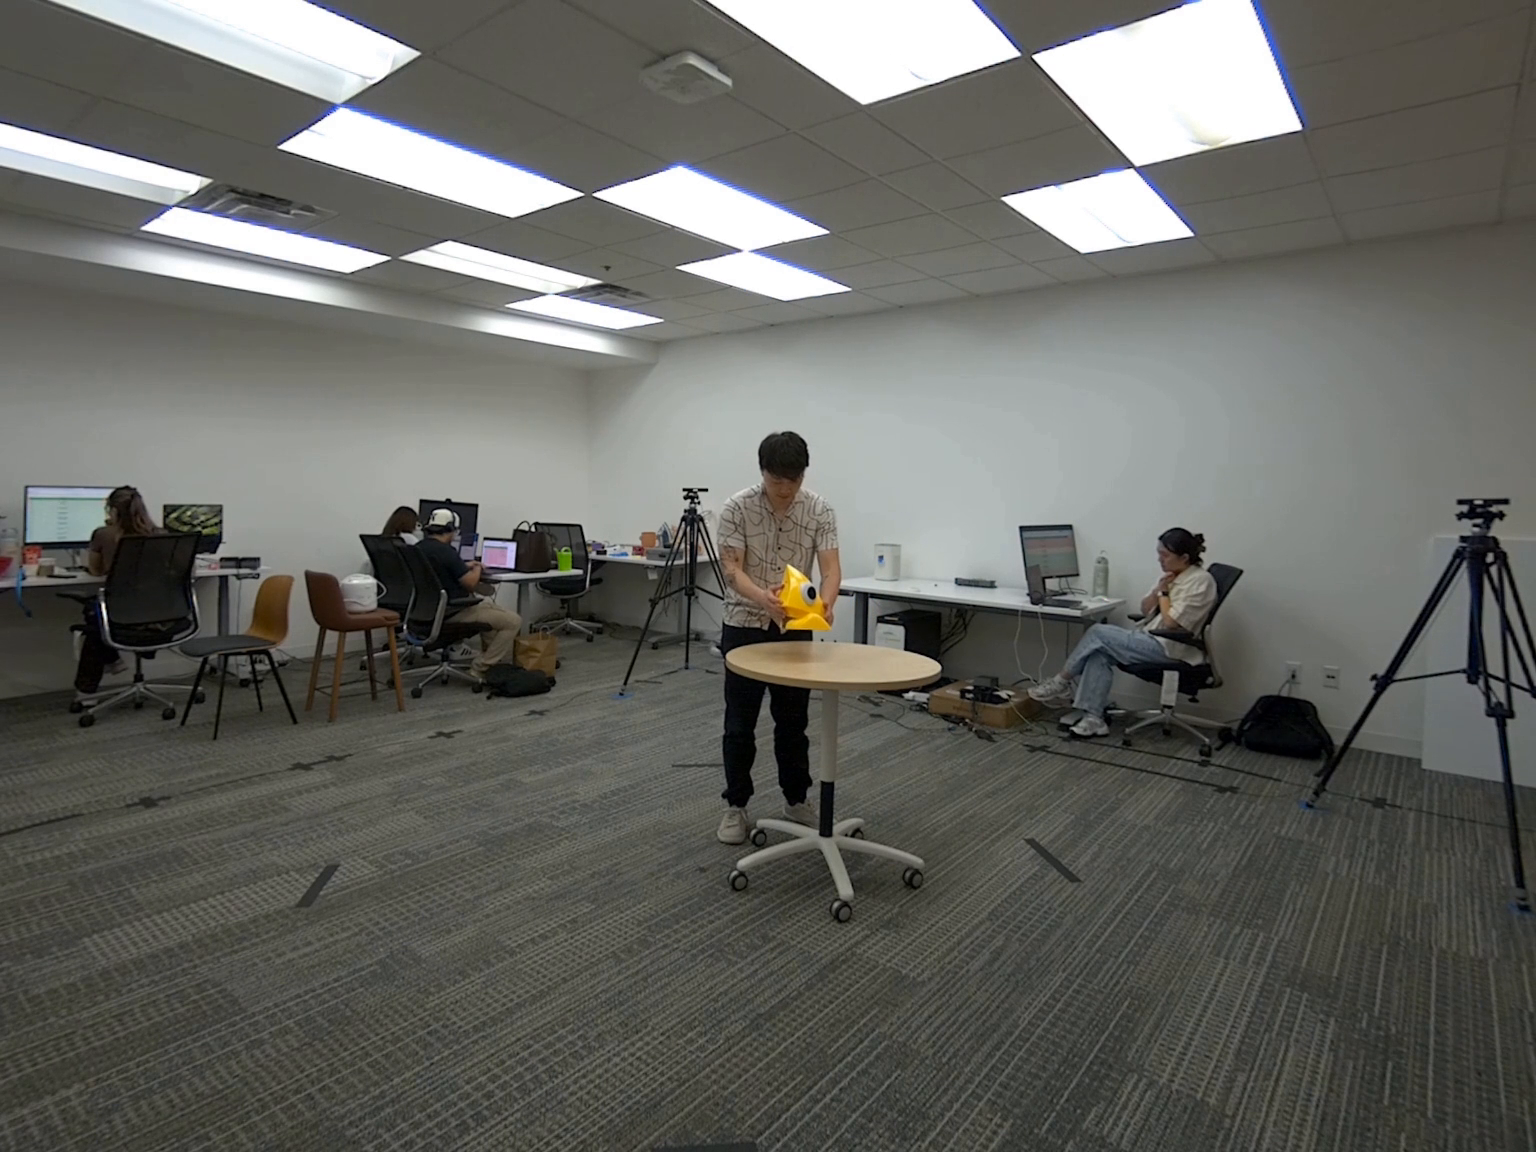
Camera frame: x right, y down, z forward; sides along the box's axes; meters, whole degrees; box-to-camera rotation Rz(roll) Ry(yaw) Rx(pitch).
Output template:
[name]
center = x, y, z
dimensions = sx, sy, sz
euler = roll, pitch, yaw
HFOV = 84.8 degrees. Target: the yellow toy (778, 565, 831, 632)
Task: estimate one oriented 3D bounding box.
[yellow toy]
center = 0.117, 0.070, 3.075
dimensions = 0.190, 0.232, 0.207
euler = 2, -5, -13
